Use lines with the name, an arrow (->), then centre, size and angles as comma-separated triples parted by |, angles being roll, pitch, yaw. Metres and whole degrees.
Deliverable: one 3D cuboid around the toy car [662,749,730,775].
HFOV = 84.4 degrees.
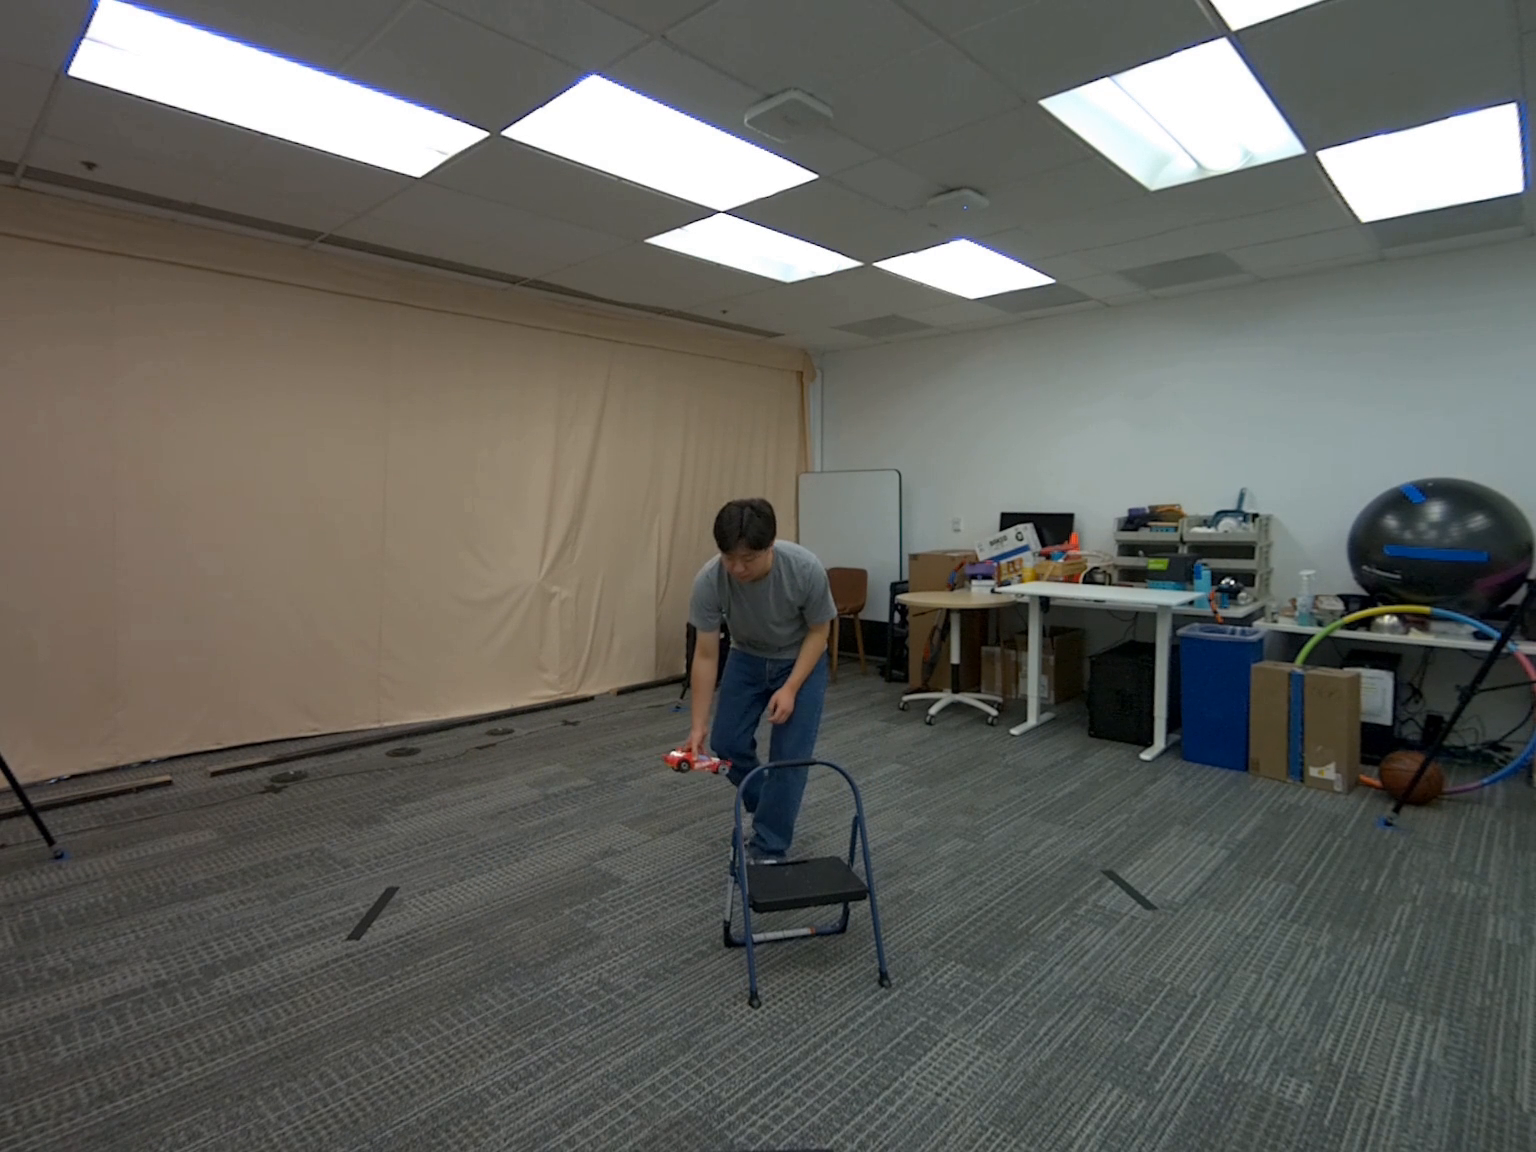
toy car -> -0.263, 0.682, 3.049 | 0.251, 0.083, 0.131 | 18, -16, -11
